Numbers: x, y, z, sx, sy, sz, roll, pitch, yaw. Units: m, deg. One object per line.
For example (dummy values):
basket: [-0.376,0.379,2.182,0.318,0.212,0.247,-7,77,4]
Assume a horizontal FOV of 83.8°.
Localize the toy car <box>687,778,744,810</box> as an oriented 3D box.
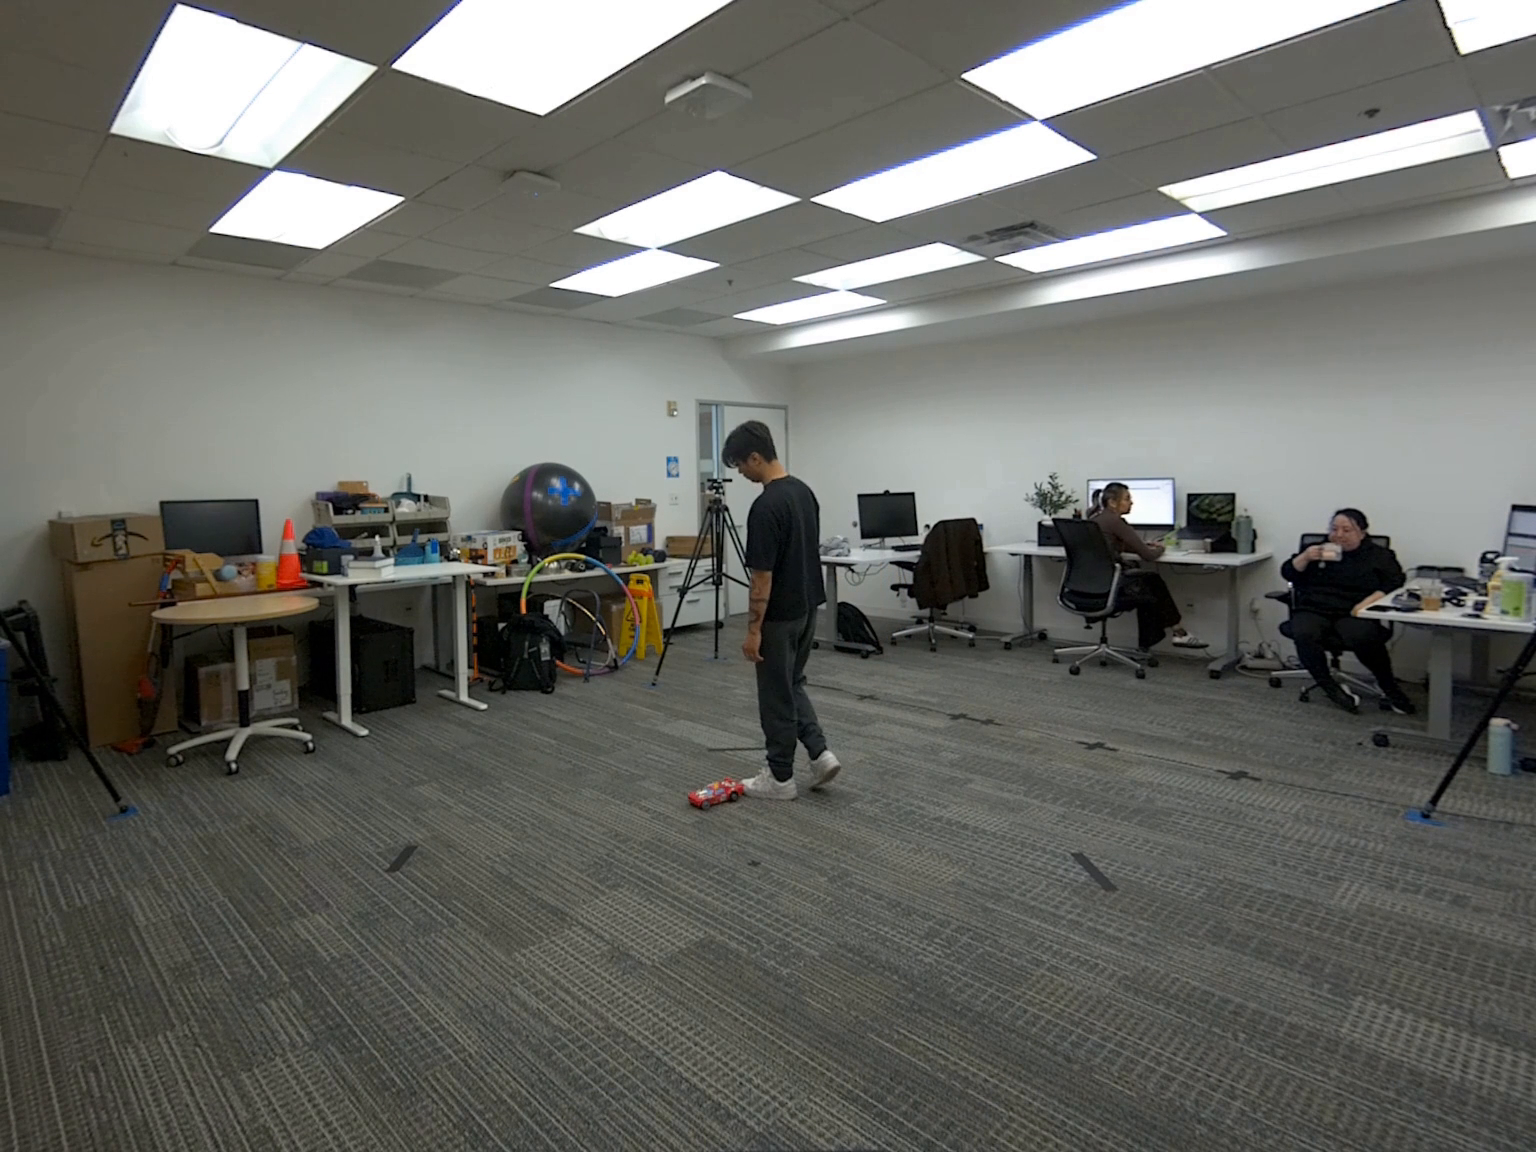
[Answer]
toy car: [-0.223,0.950,3.720,0.250,0.082,0.134,-18,14,-33]
